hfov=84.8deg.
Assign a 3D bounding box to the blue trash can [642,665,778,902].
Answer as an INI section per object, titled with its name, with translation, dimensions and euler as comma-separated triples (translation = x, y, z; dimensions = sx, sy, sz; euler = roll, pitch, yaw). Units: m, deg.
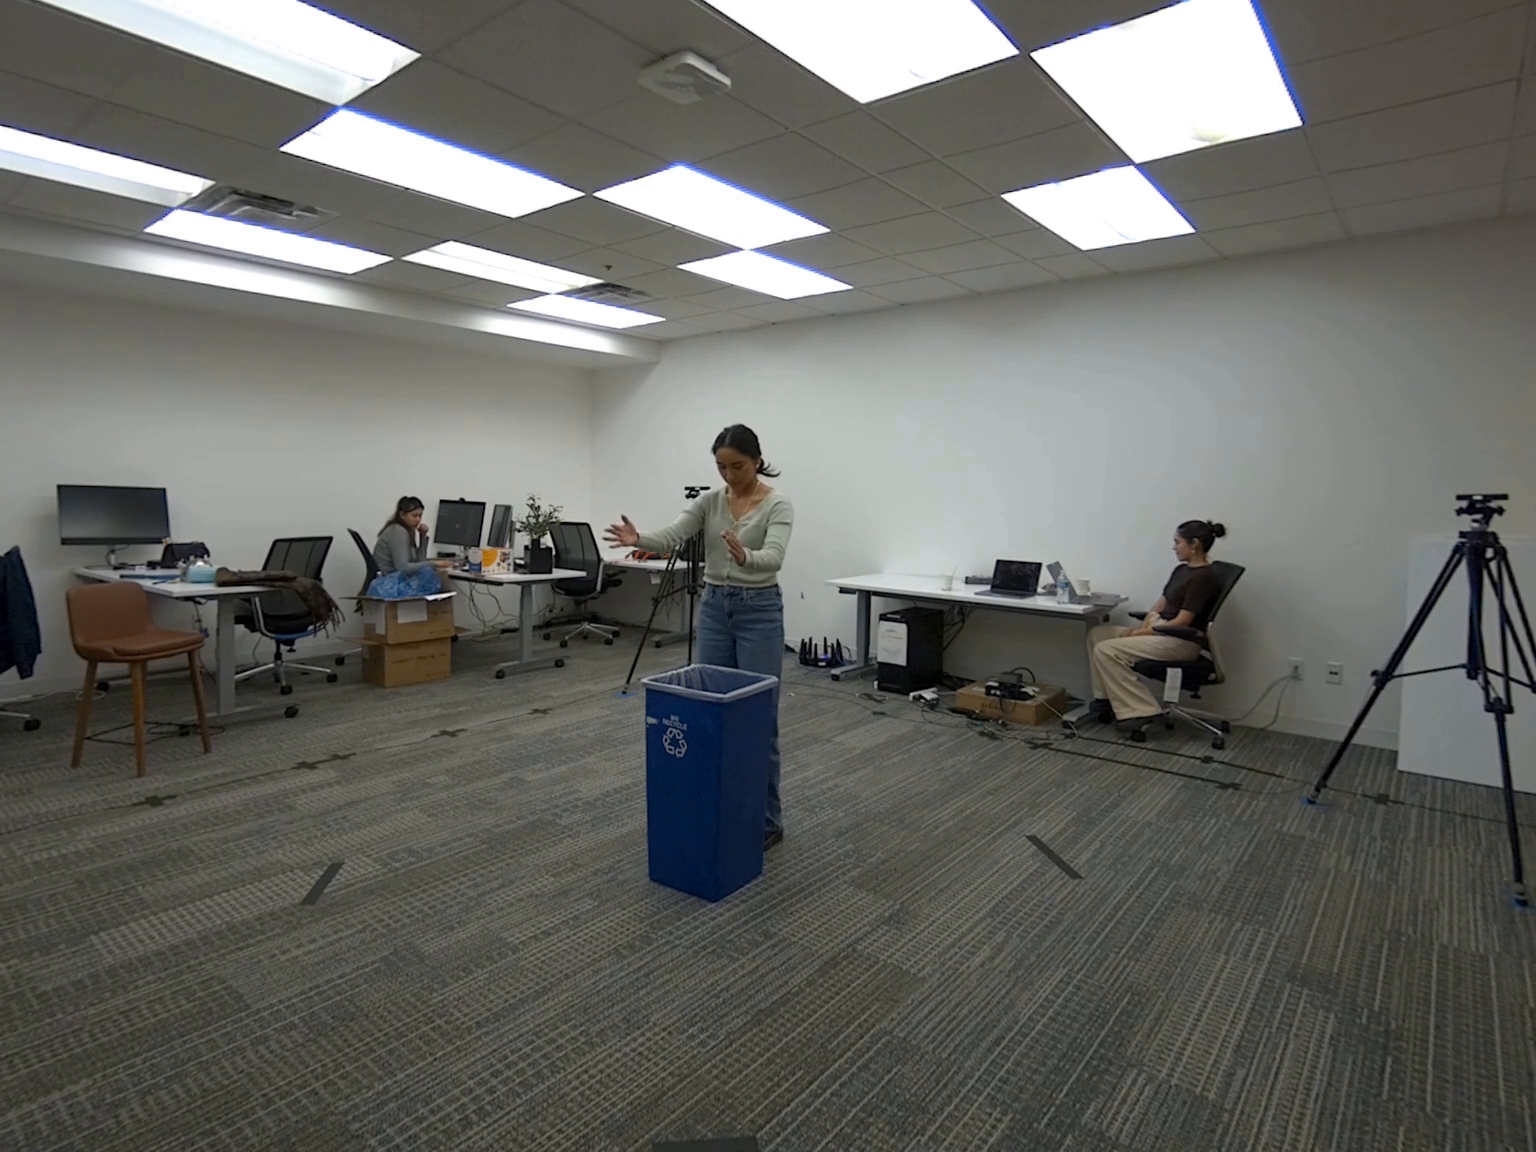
[blue trash can]
translation = -0.218, 0.713, 3.026
dimensions = 0.386, 0.712, 0.367
euler = 3, 4, 34
